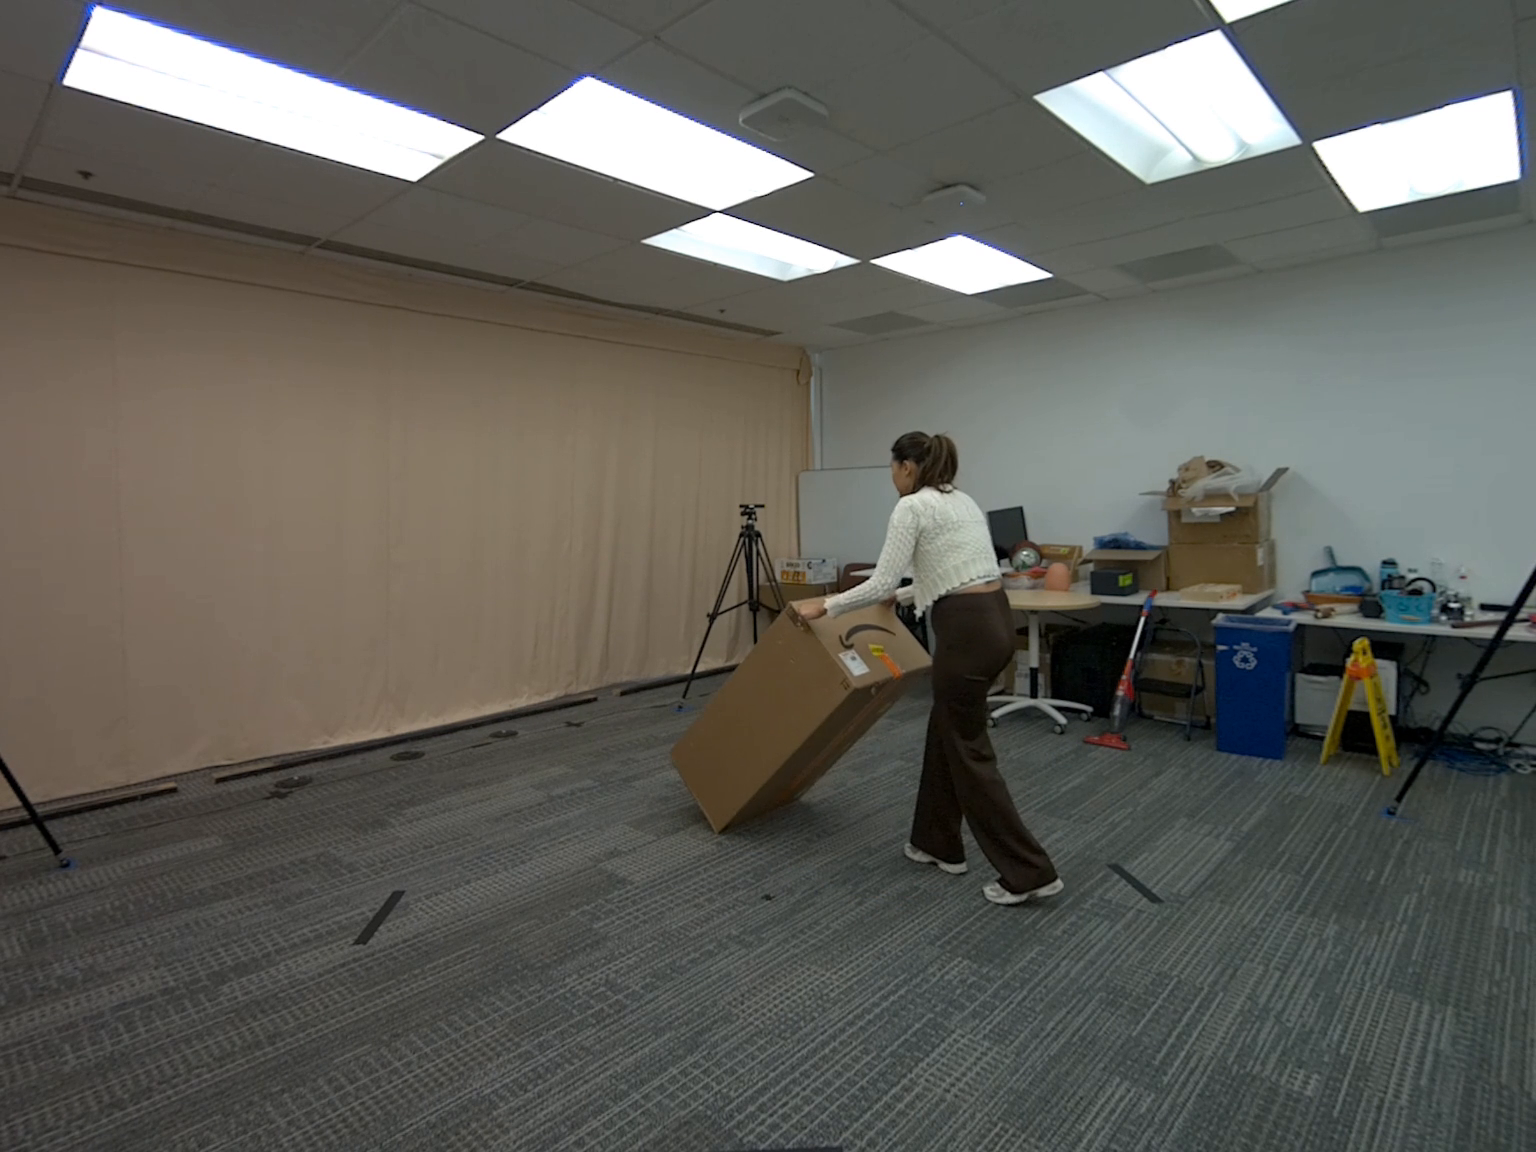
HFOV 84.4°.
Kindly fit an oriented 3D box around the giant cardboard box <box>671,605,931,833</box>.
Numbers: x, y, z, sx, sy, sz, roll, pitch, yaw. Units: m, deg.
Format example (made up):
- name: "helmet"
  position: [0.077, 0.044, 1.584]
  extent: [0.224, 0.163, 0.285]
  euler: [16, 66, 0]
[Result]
- name: "giant cardboard box"
  position: [0.121, 0.577, 3.600]
  extent: [0.560, 0.438, 1.029]
  euler: [-5, -40, -48]
